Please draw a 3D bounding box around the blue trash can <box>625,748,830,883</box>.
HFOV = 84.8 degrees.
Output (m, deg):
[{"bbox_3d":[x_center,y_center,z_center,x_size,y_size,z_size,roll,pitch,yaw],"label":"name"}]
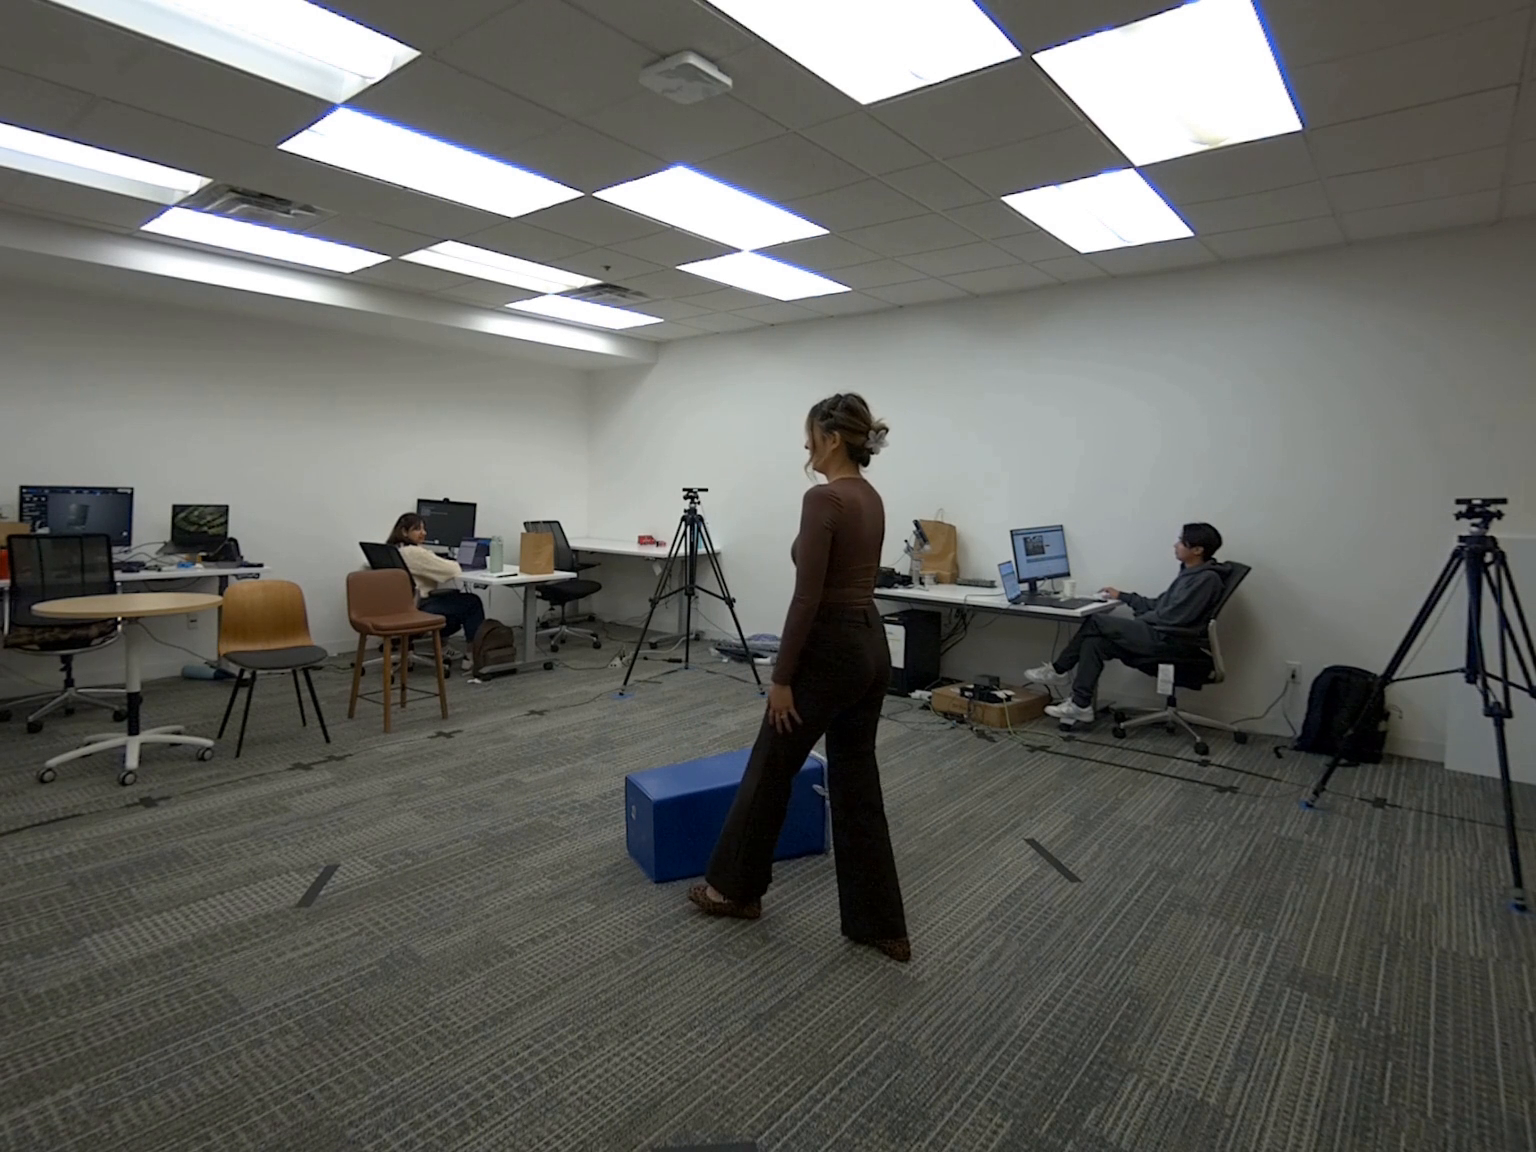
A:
[{"bbox_3d":[-0.173,0.884,3.258,0.697,0.376,0.385,-3,7,-26],"label":"blue trash can"}]
